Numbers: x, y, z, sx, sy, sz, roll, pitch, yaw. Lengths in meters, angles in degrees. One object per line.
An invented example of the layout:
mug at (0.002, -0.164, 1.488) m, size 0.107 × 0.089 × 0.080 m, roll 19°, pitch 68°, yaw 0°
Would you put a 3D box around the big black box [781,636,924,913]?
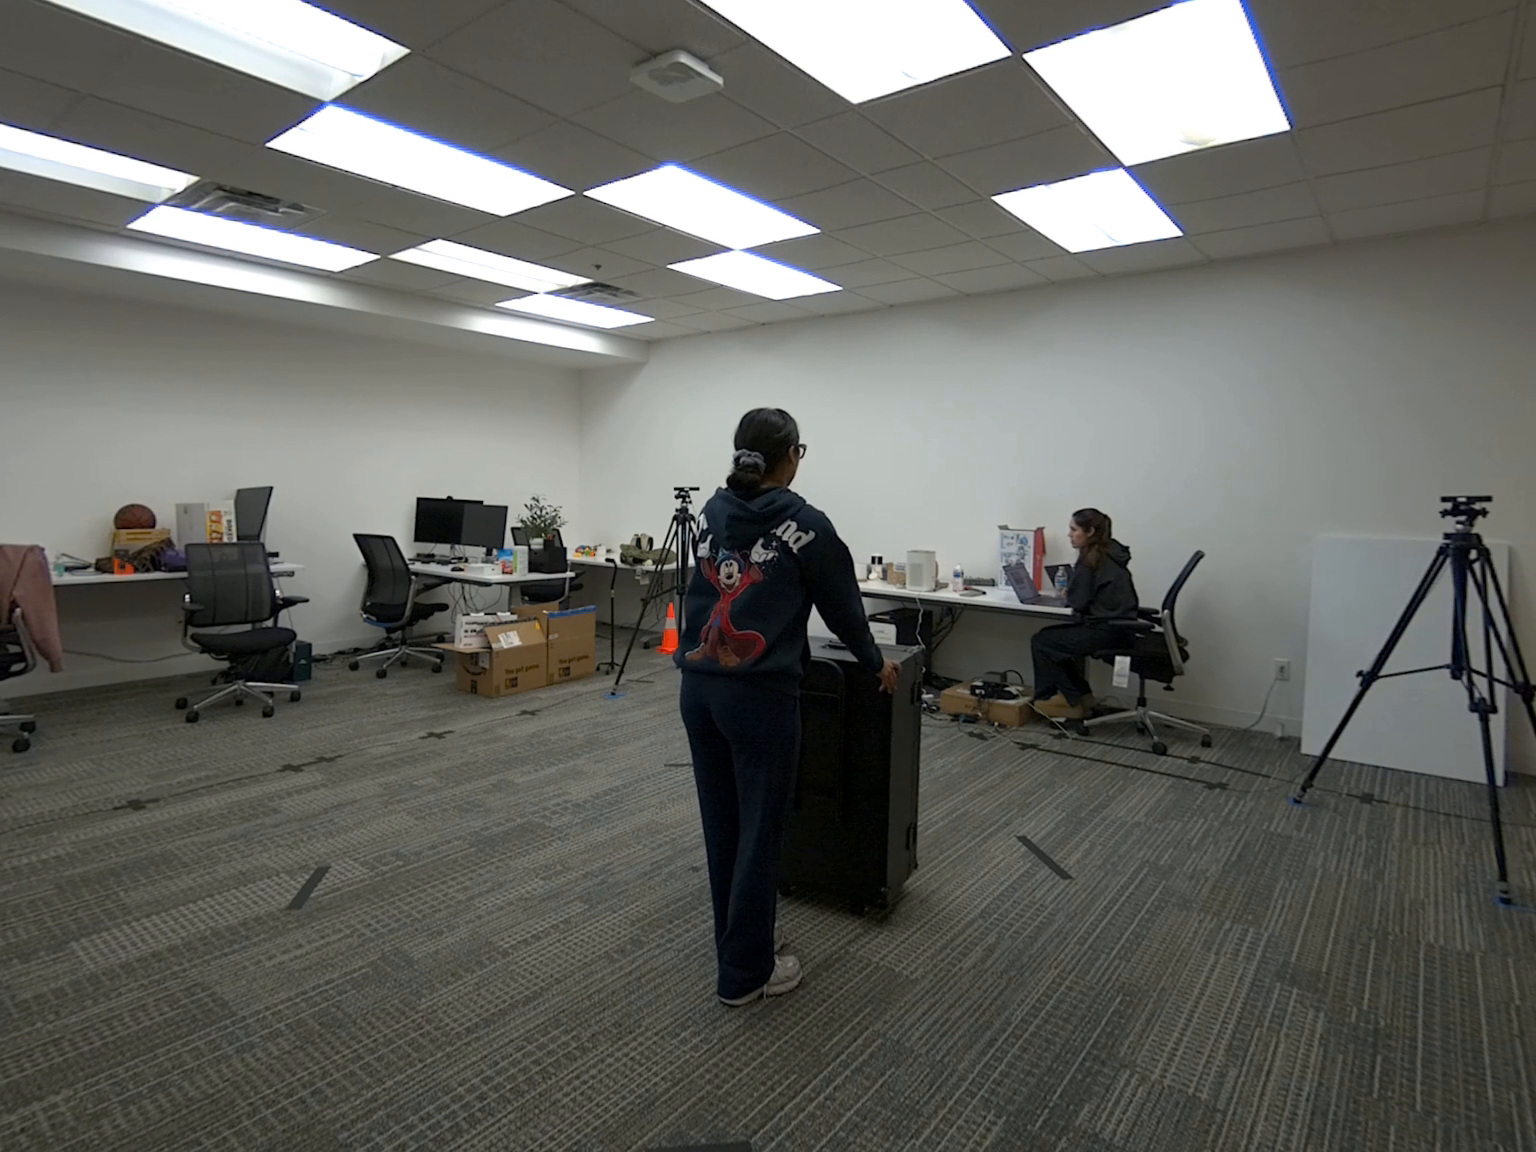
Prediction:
big black box at (0.235, 0.673, 2.923) m, size 0.536 × 0.857 × 0.387 m, roll 3°, pitch 6°, yaw 28°
